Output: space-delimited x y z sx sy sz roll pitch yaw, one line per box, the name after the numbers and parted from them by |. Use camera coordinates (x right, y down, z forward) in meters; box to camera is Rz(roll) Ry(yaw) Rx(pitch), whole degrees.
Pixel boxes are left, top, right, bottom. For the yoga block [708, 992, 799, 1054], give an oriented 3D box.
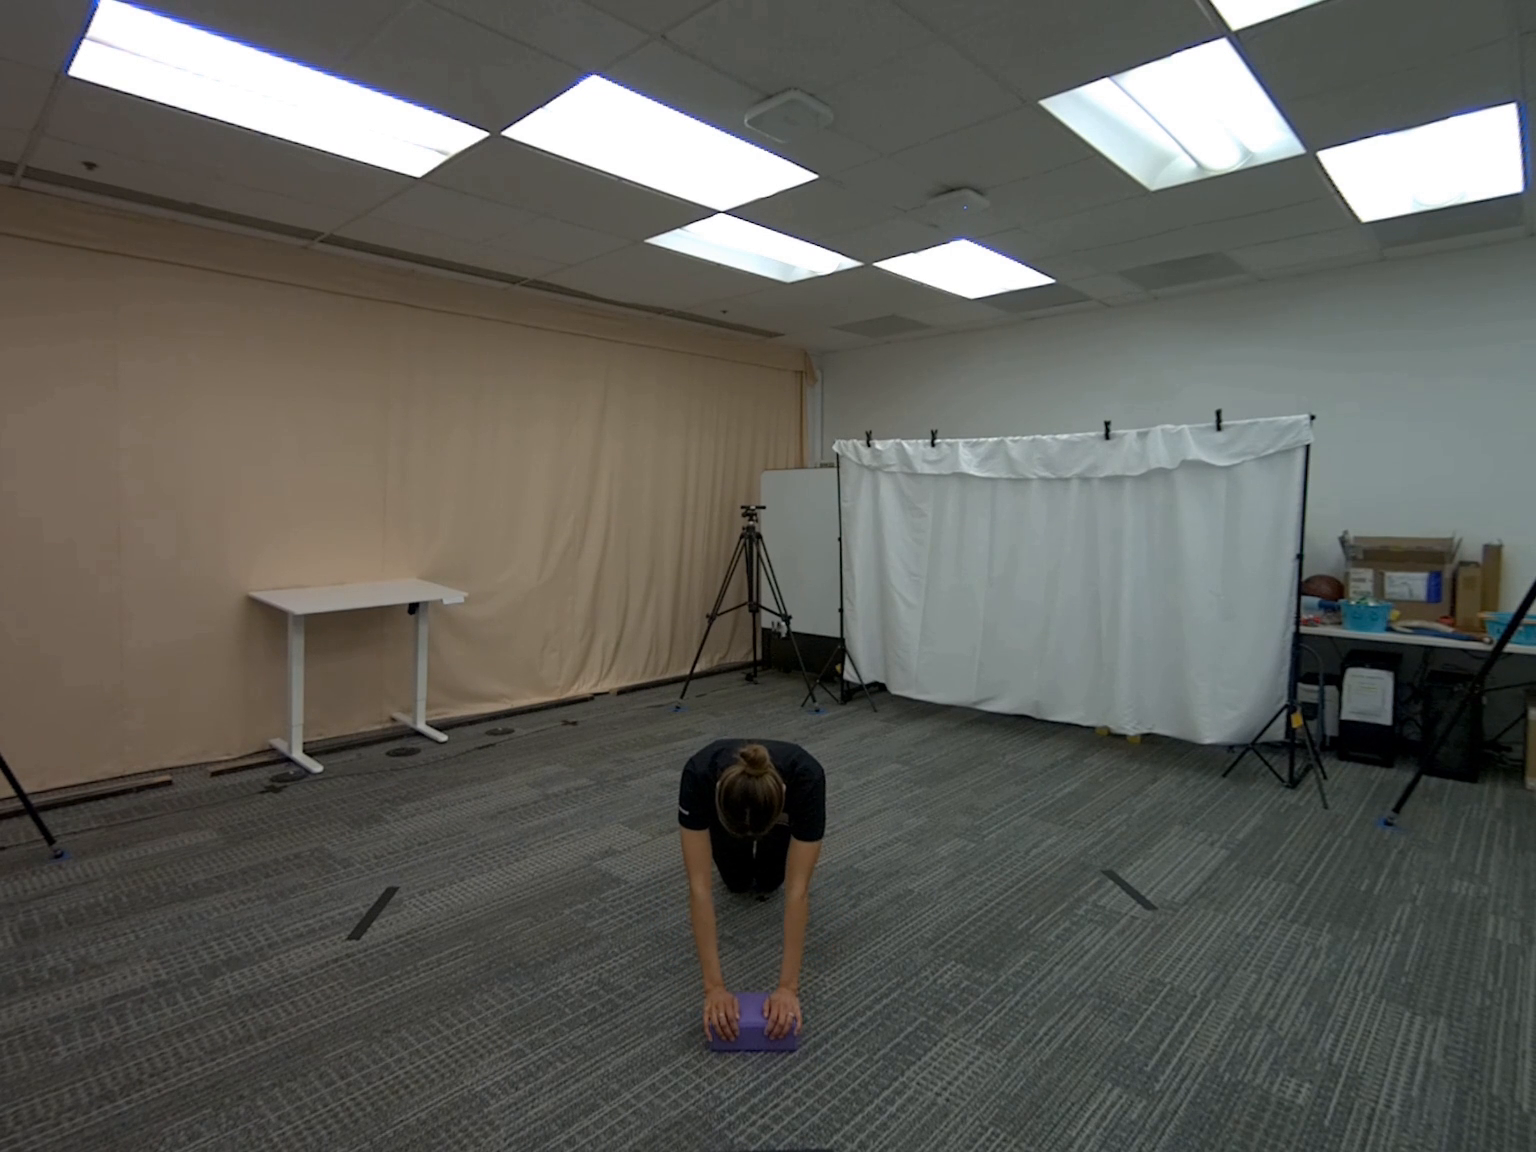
-0.040 1.162 2.218 0.229 0.076 0.150 0 8 -1 | yoga block
